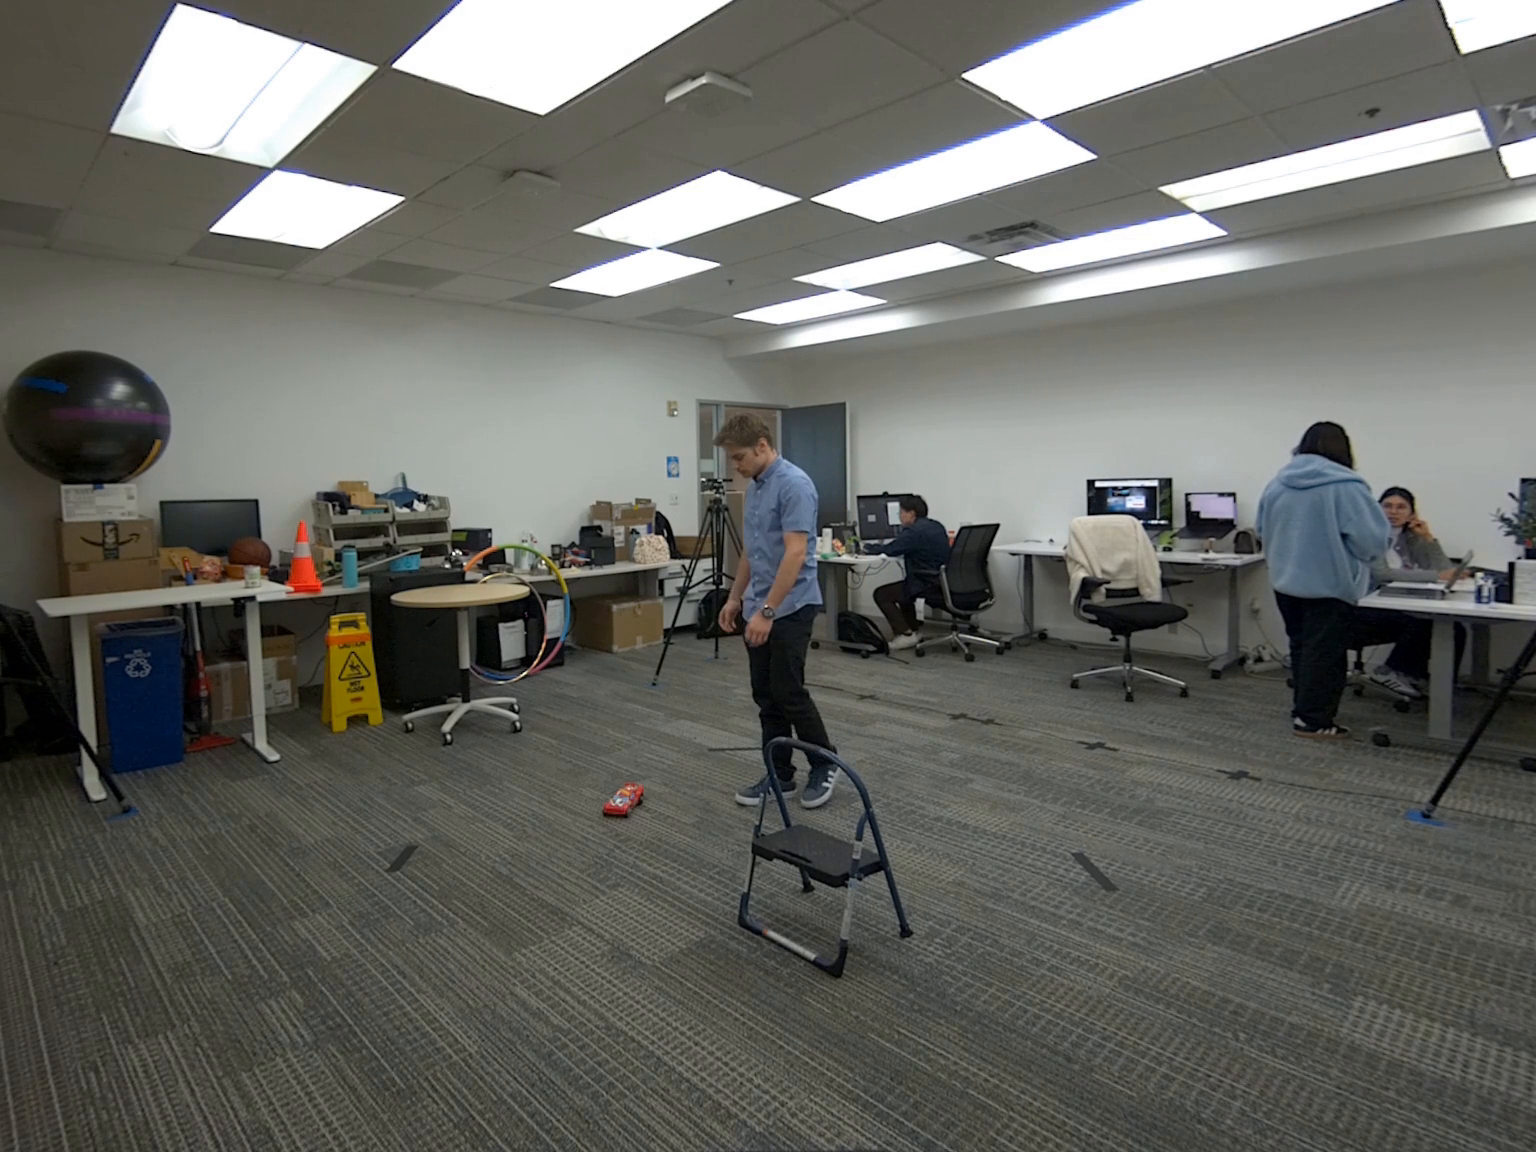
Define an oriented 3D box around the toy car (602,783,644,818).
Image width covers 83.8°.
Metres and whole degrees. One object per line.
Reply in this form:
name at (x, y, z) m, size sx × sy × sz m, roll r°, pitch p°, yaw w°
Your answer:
toy car at (-0.611, 0.961, 3.667) m, size 0.132 × 0.082 × 0.255 m, roll -1°, pitch 17°, yaw 12°
